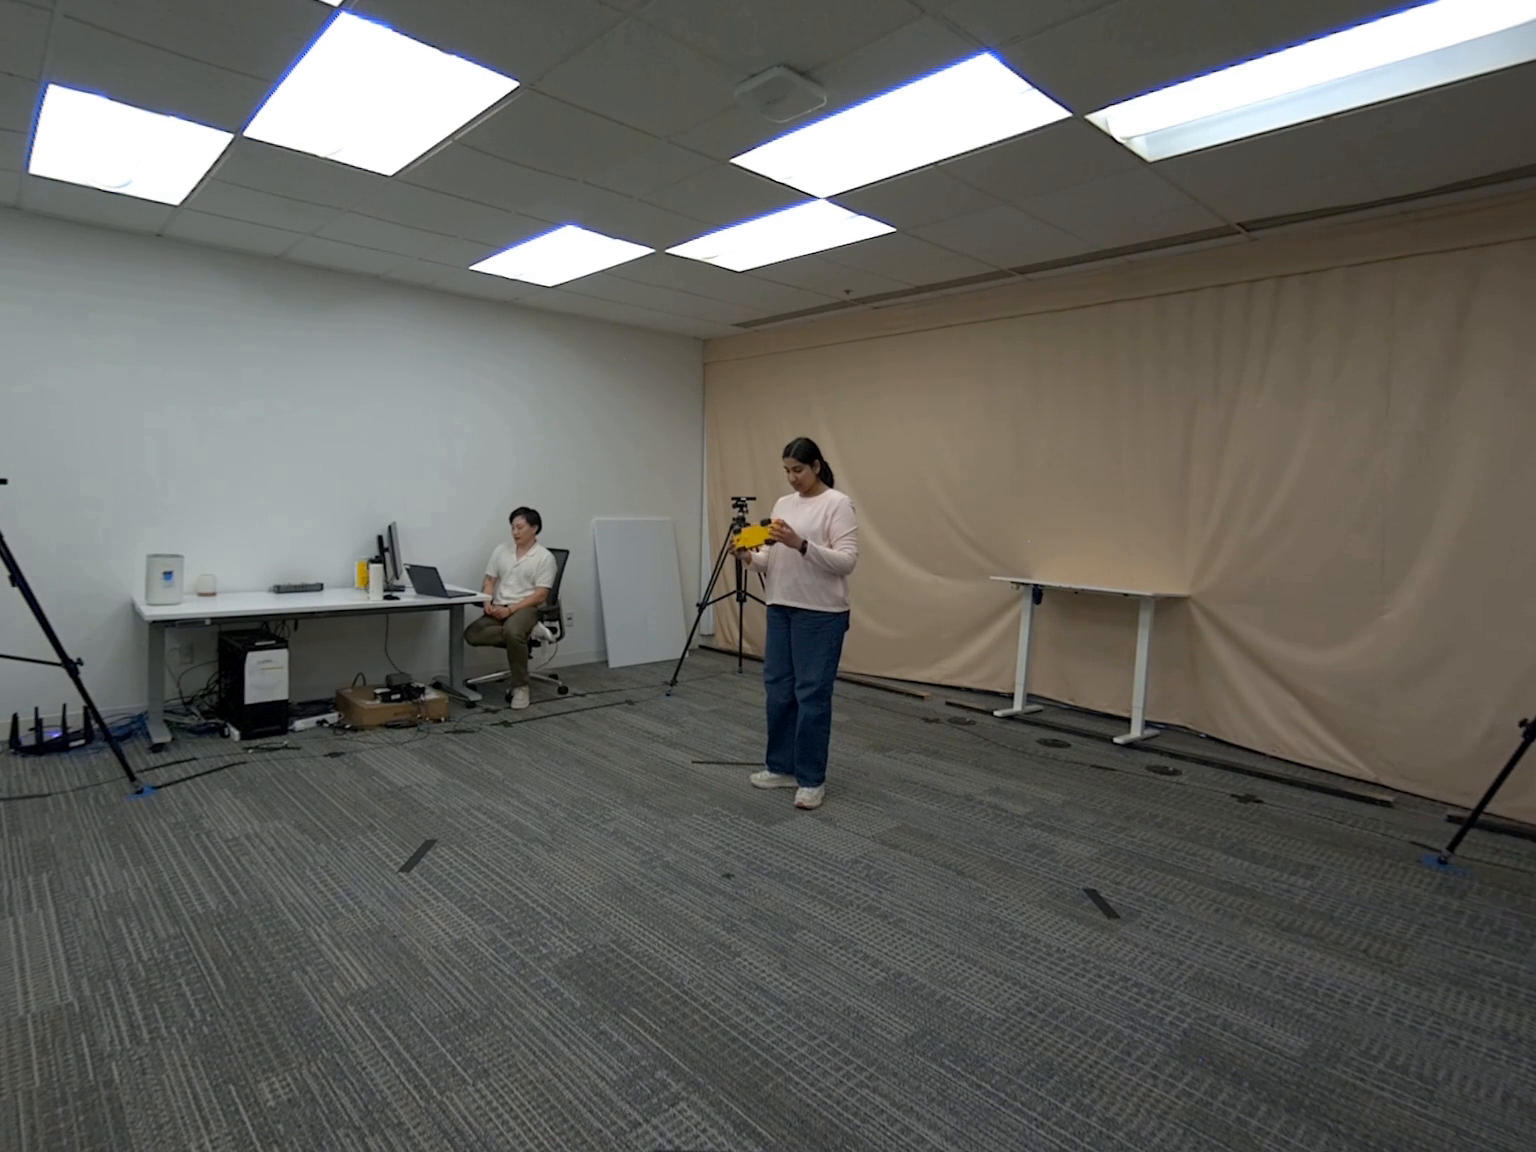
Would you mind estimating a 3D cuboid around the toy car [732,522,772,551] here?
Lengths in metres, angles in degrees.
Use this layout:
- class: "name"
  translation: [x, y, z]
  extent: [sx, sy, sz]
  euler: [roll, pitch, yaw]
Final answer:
- class: "toy car"
  translation: [-0.048, -0.181, 3.719]
  extent: [0.256, 0.131, 0.082]
  euler: [-13, -3, 10]
